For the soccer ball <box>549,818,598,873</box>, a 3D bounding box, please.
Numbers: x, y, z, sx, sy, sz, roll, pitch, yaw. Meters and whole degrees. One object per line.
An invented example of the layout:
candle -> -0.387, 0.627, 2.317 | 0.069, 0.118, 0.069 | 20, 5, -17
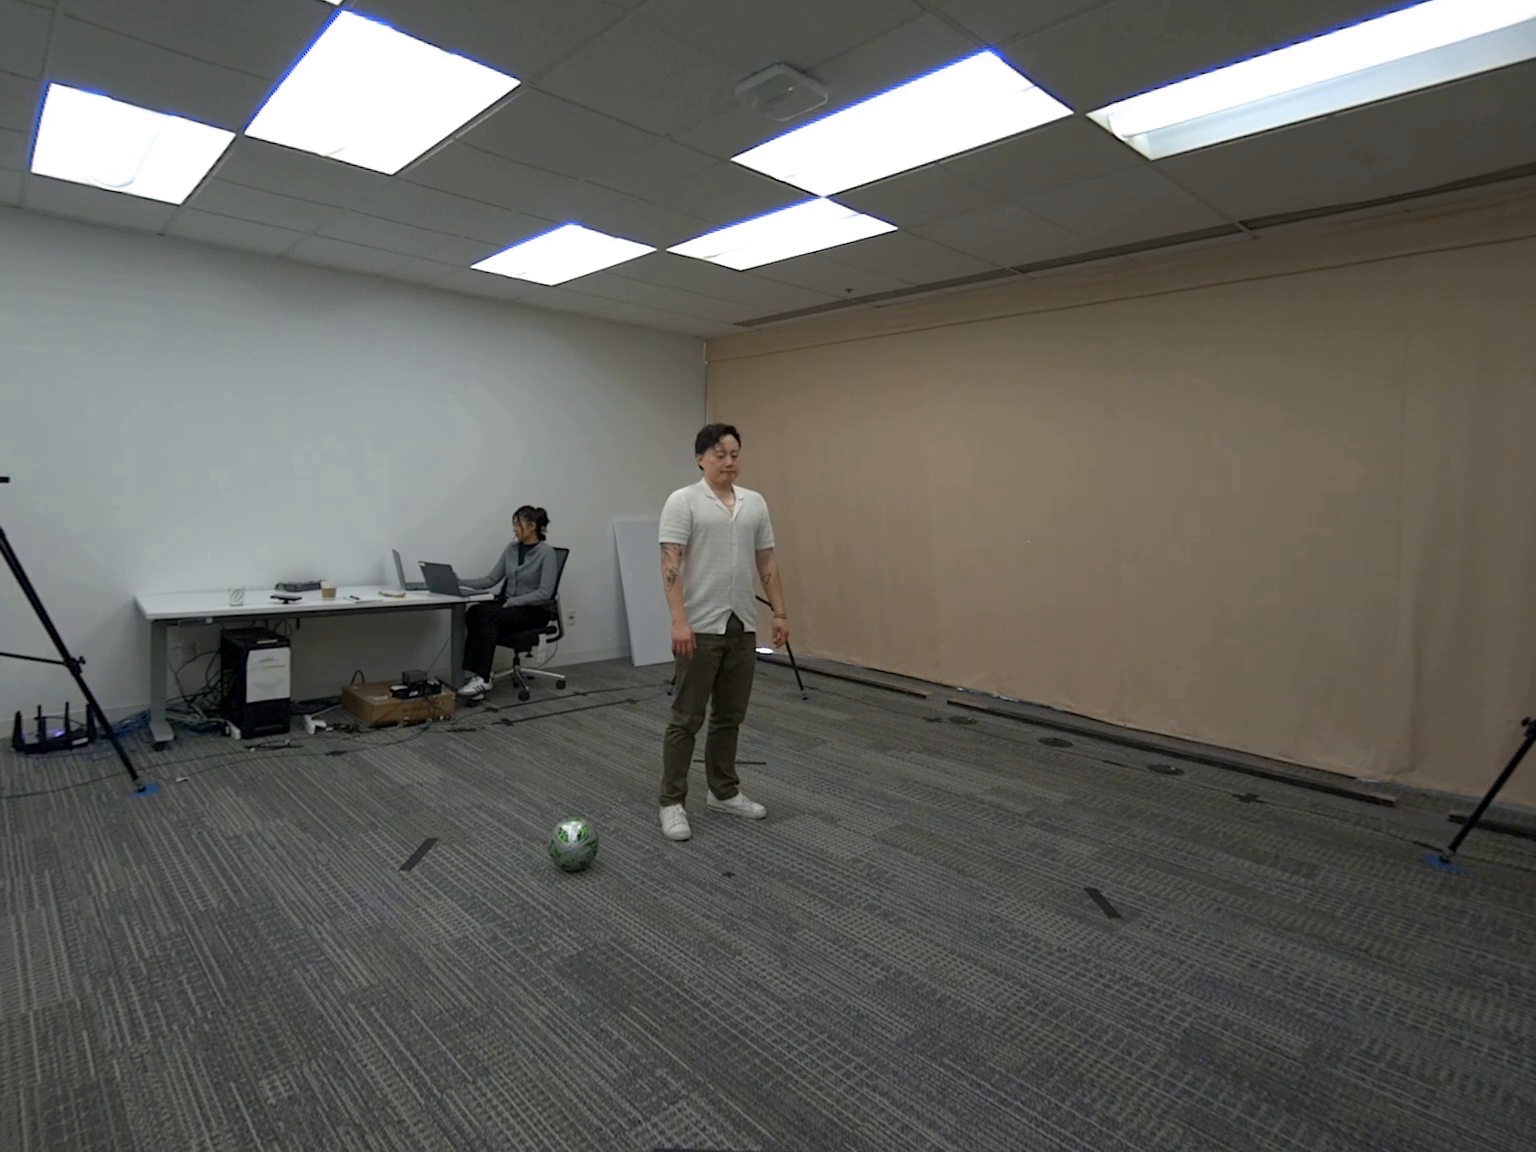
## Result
soccer ball -> -0.731, 0.994, 3.118 | 0.187, 0.187, 0.188 | 1, 4, -1
